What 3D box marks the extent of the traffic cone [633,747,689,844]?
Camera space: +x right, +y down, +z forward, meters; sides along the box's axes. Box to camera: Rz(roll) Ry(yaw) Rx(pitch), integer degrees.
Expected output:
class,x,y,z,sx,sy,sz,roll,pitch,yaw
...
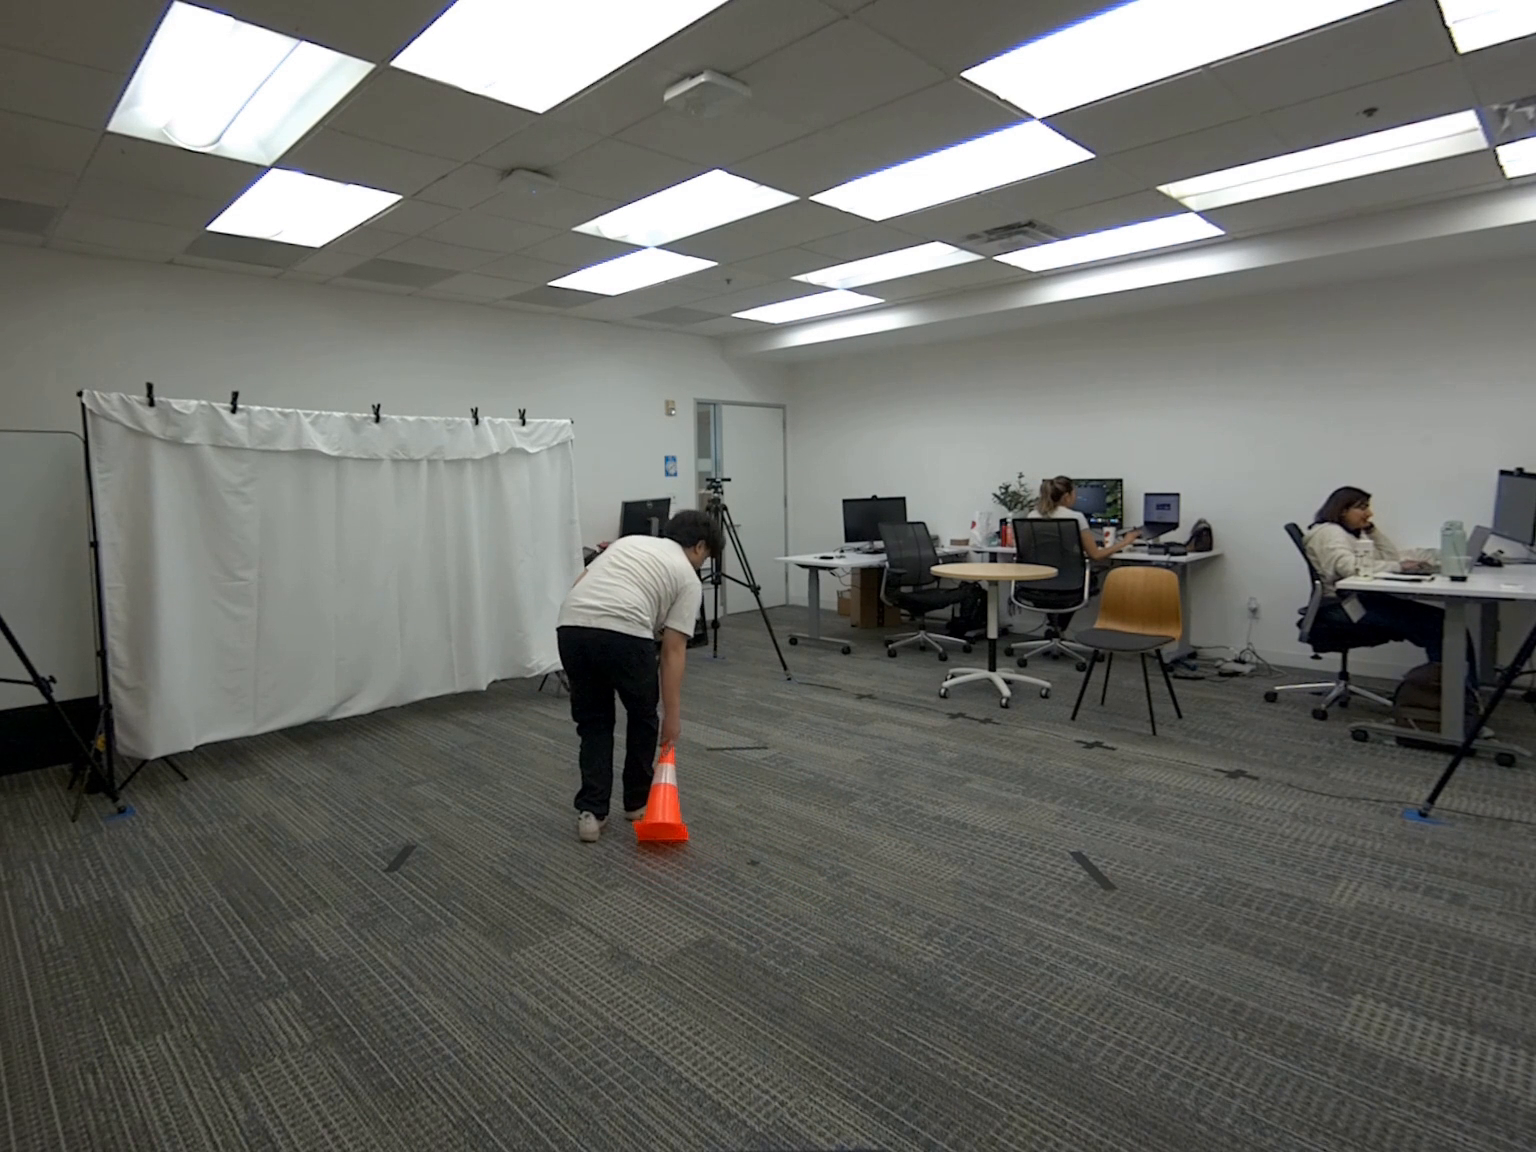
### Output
class,x,y,z,sx,sy,sz,roll,pitch,yaw
traffic cone,-0.398,0.815,3.347,0.206,0.393,0.197,-1,-37,3
